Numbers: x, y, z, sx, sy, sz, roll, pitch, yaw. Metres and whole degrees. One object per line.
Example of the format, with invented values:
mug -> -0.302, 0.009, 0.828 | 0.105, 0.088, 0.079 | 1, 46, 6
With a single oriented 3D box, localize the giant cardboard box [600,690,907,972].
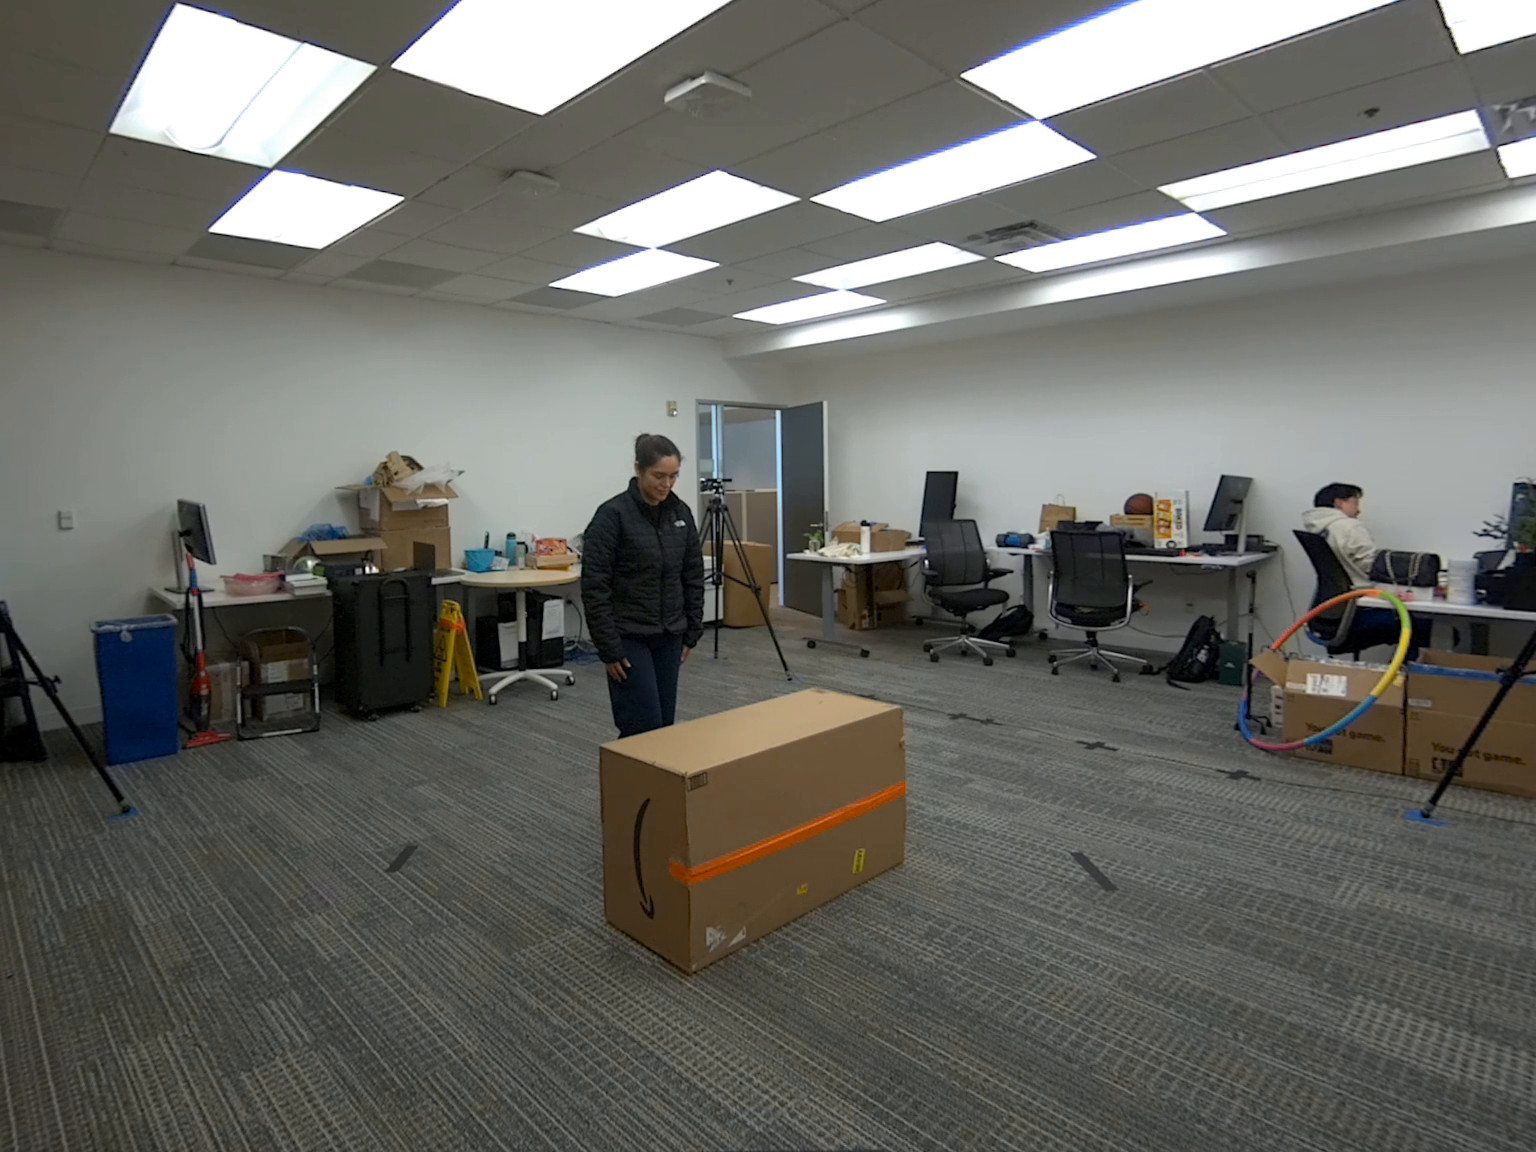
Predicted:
giant cardboard box -> -0.013, 0.783, 2.893 | 1.000, 0.582, 0.460 | -7, 6, -43
